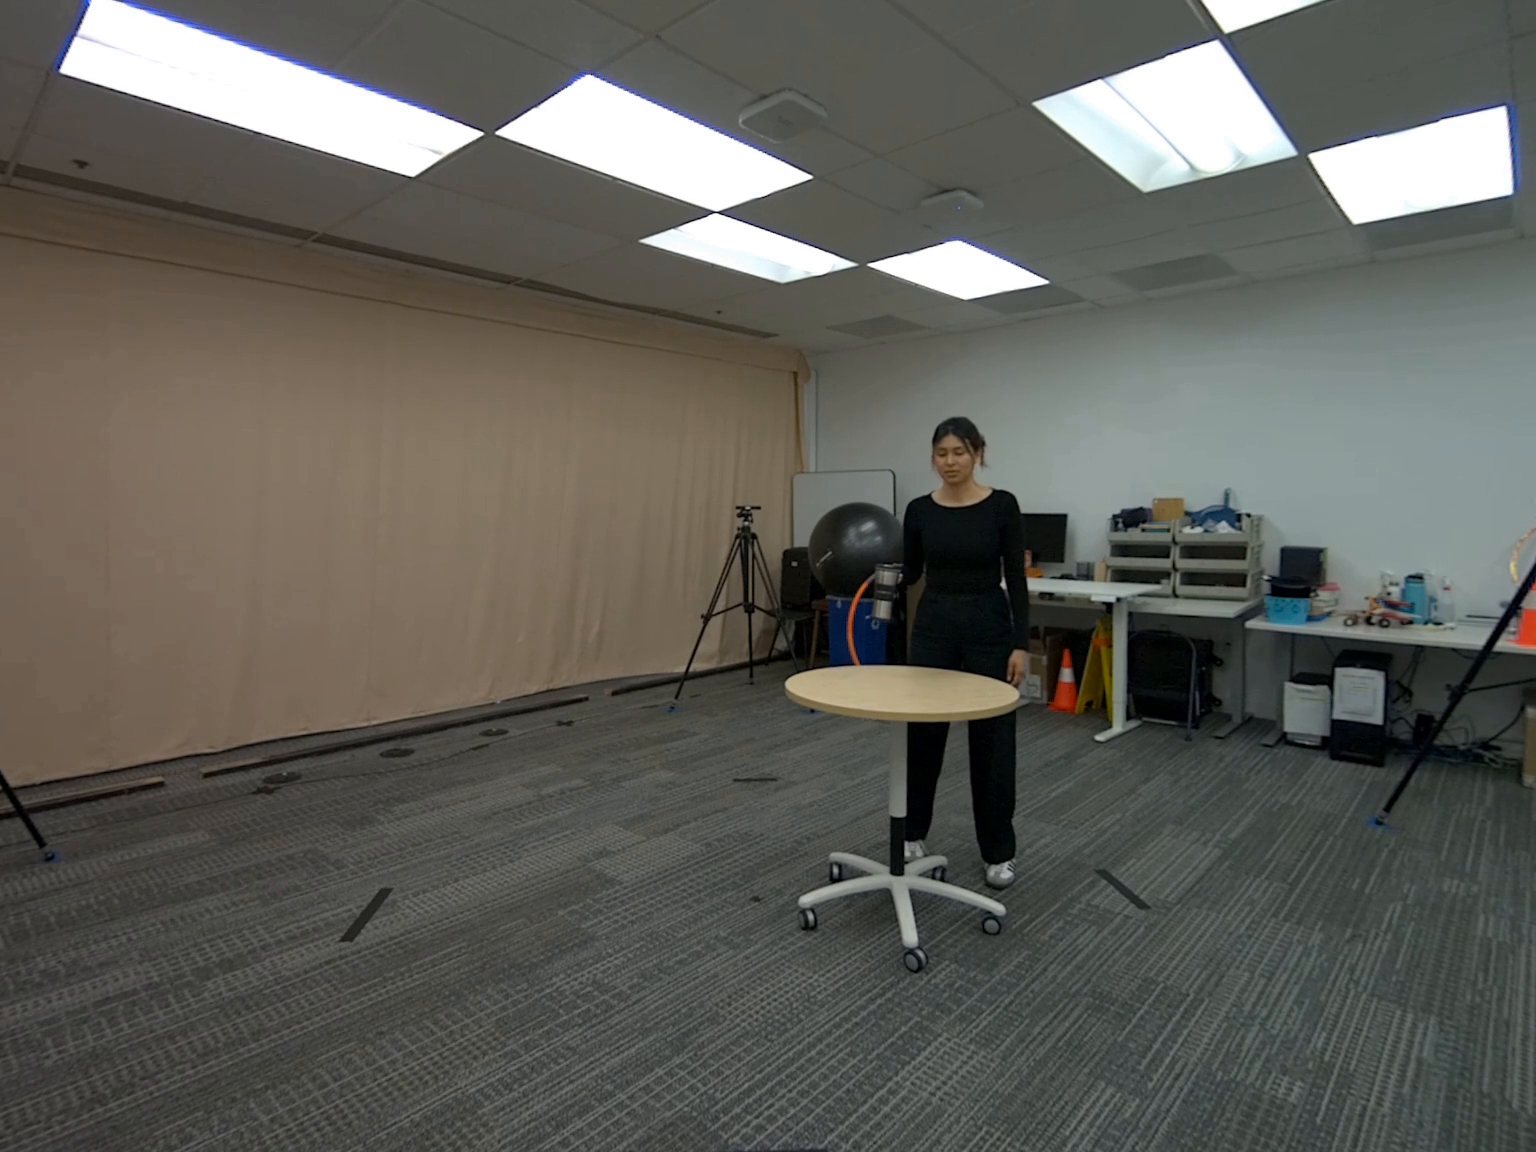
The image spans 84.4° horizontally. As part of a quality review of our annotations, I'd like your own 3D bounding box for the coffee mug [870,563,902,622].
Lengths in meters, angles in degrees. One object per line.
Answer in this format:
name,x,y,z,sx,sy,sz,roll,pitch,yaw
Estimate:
coffee mug,0.433,0.064,3.047,0.118,0.203,0.091,3,1,-44
